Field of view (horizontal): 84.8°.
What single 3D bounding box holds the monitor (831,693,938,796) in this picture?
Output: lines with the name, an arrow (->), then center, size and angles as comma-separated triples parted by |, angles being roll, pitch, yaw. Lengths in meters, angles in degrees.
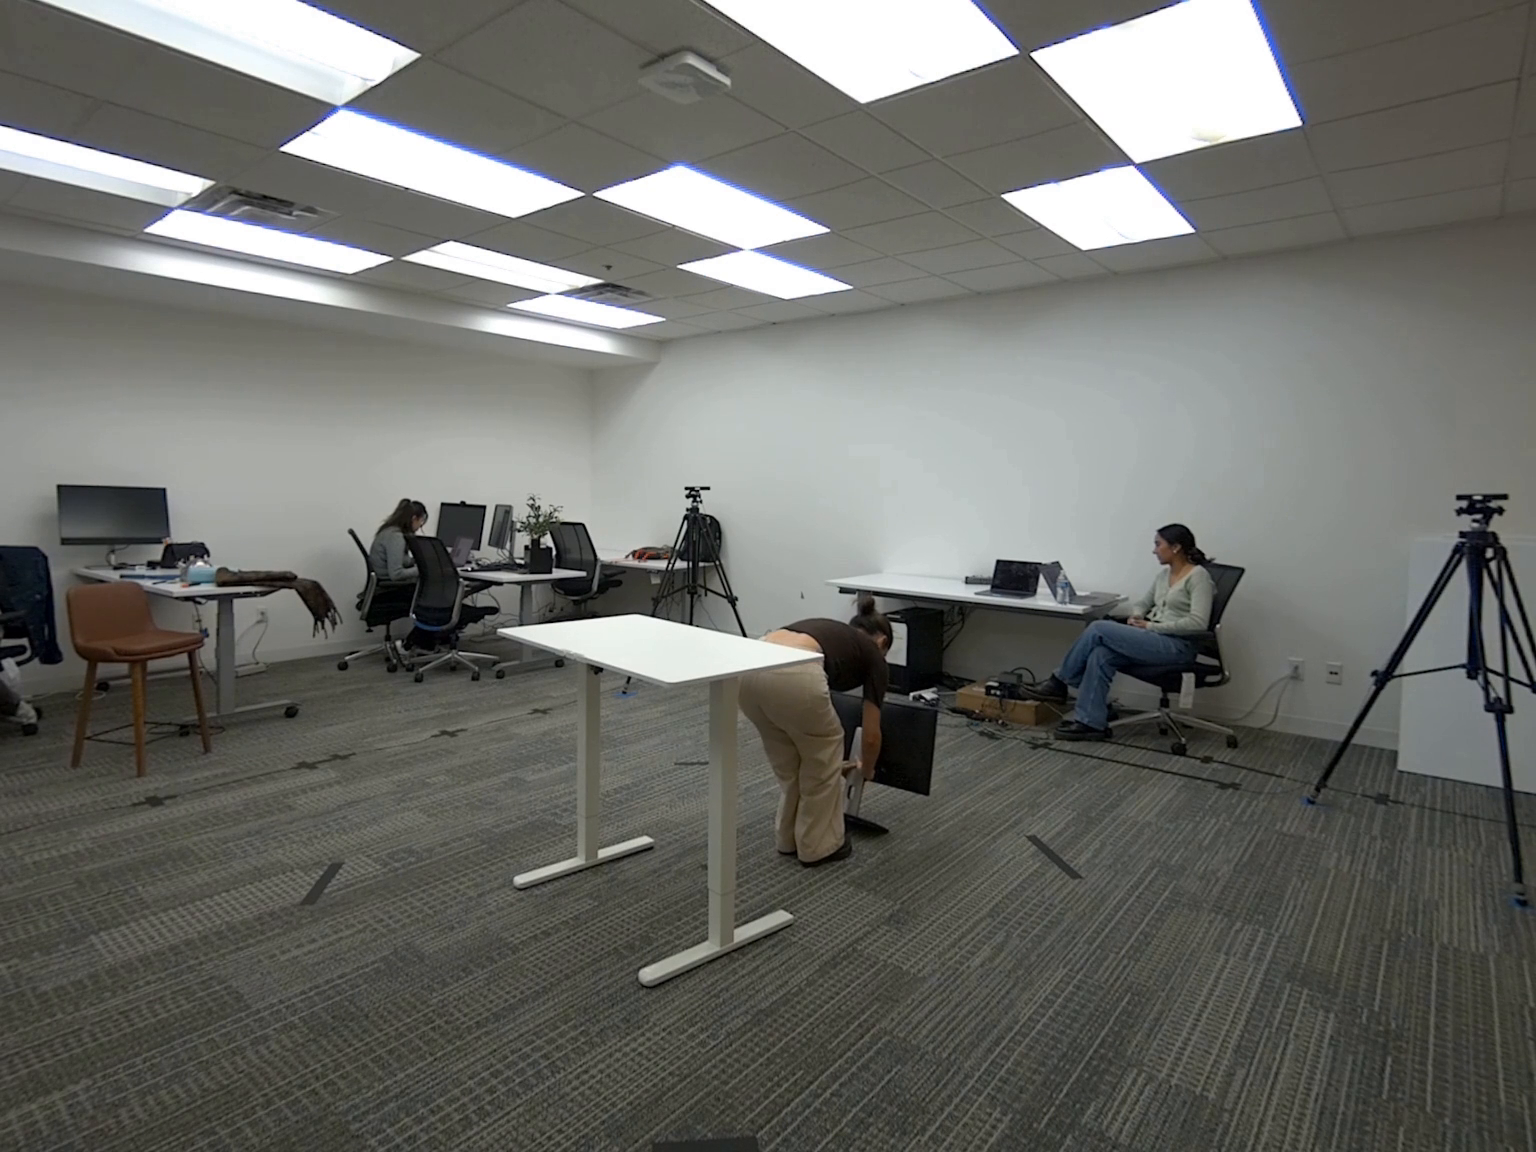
monitor -> 0.402, 0.761, 3.566 | 0.557, 0.528, 0.179 | 4, -19, 36
